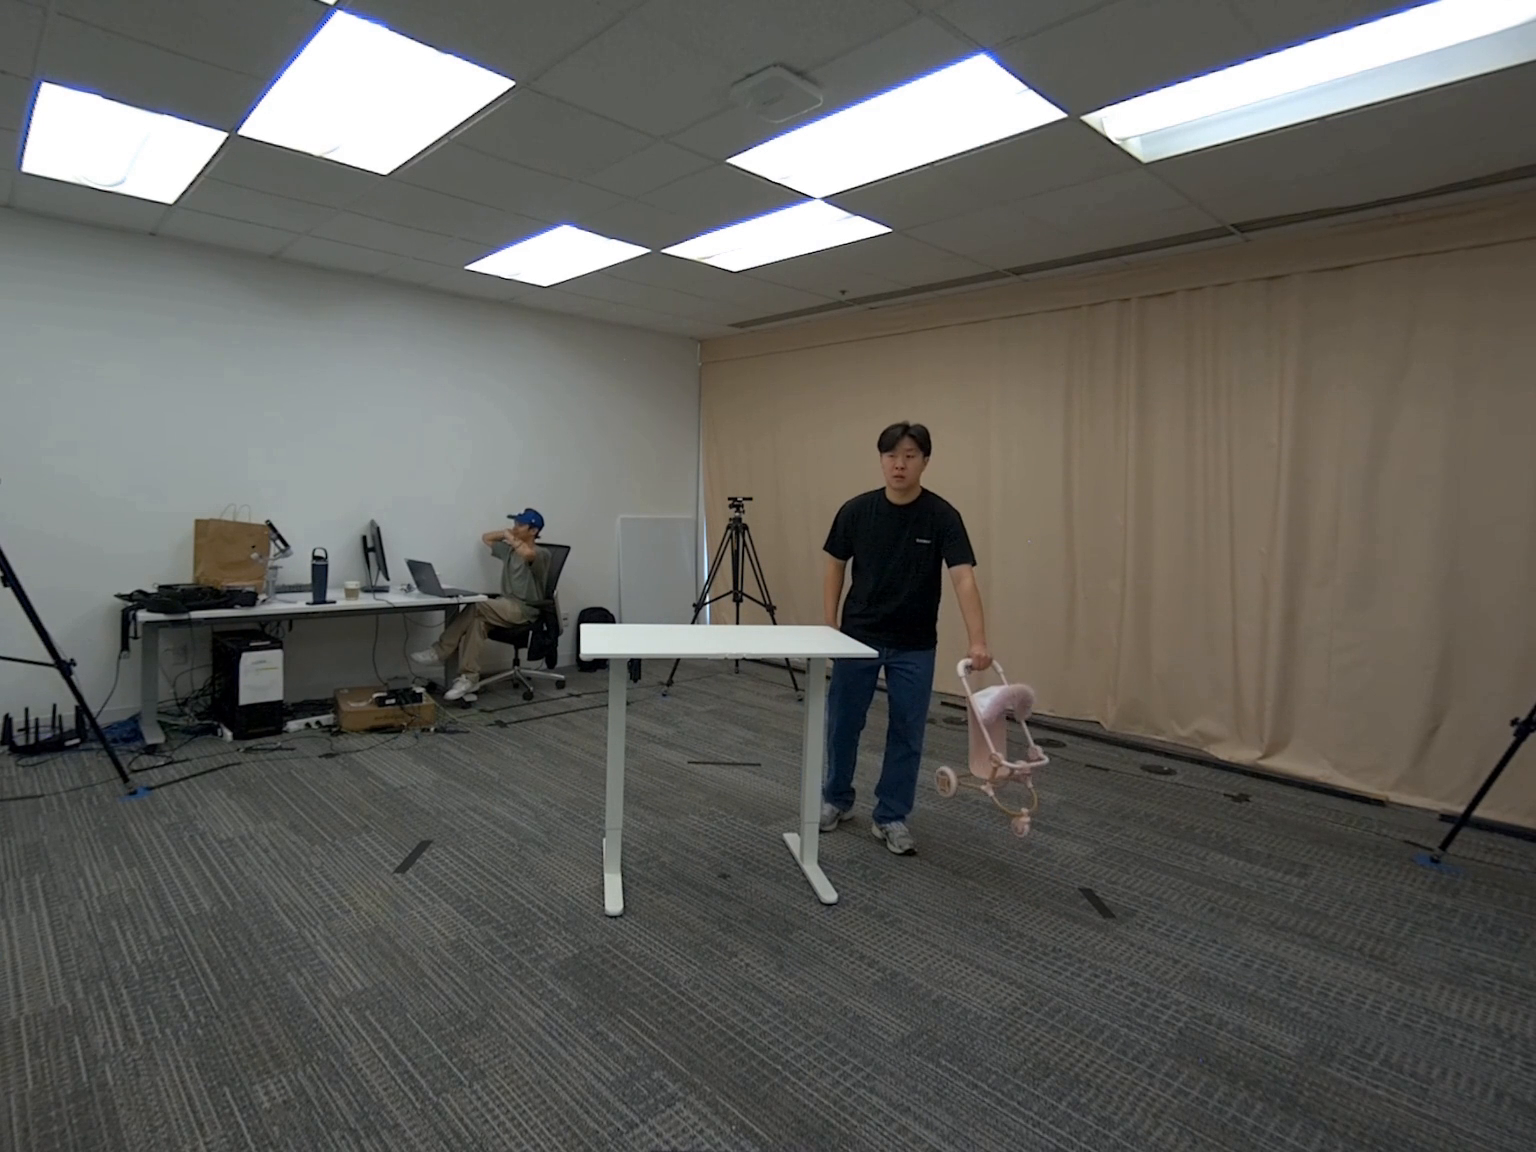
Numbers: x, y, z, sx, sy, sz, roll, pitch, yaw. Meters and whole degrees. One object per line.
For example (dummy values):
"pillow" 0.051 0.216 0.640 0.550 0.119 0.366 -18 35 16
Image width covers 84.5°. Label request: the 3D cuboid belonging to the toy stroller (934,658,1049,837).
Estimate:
"toy stroller" 0.782 0.585 2.887 0.276 0.532 0.350 2 8 -28
